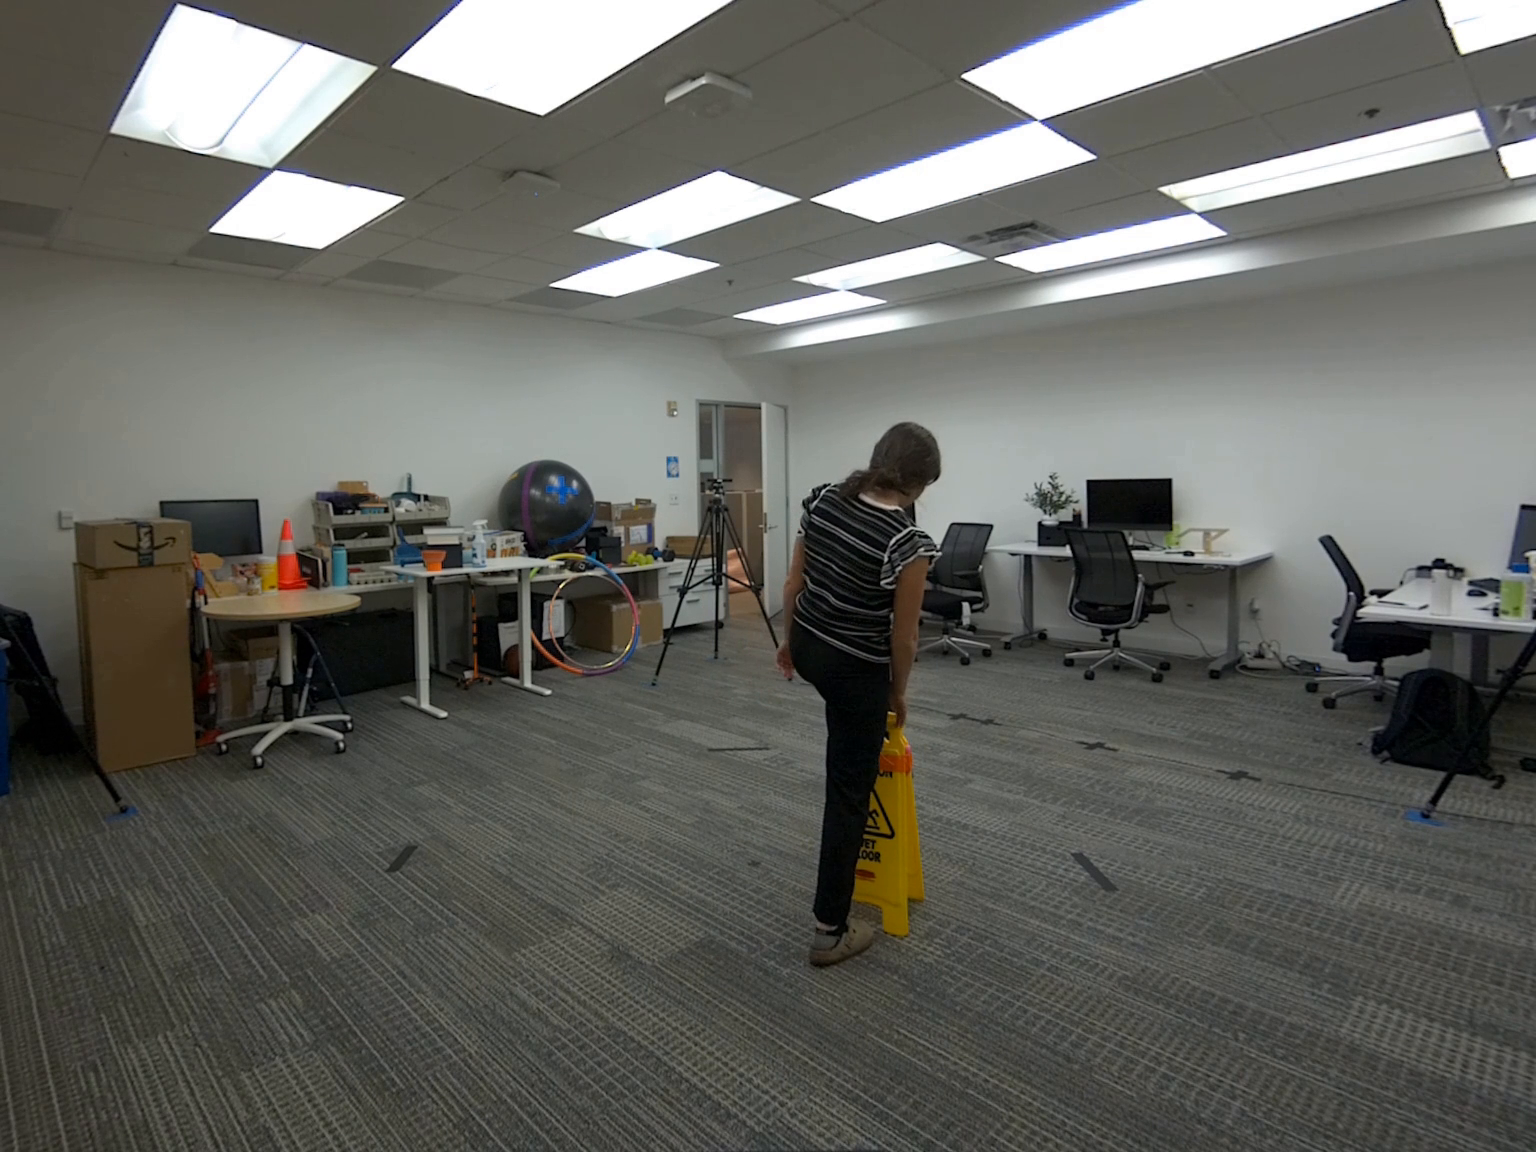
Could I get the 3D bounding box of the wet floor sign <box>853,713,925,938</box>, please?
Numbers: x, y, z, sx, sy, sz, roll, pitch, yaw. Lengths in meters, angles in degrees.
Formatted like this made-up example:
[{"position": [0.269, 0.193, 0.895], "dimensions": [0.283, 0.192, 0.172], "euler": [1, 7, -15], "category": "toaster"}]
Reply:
[{"position": [0.338, 0.756, 2.735], "dimensions": [0.288, 0.644, 0.285], "euler": [-1, 4, 22], "category": "wet floor sign"}]
